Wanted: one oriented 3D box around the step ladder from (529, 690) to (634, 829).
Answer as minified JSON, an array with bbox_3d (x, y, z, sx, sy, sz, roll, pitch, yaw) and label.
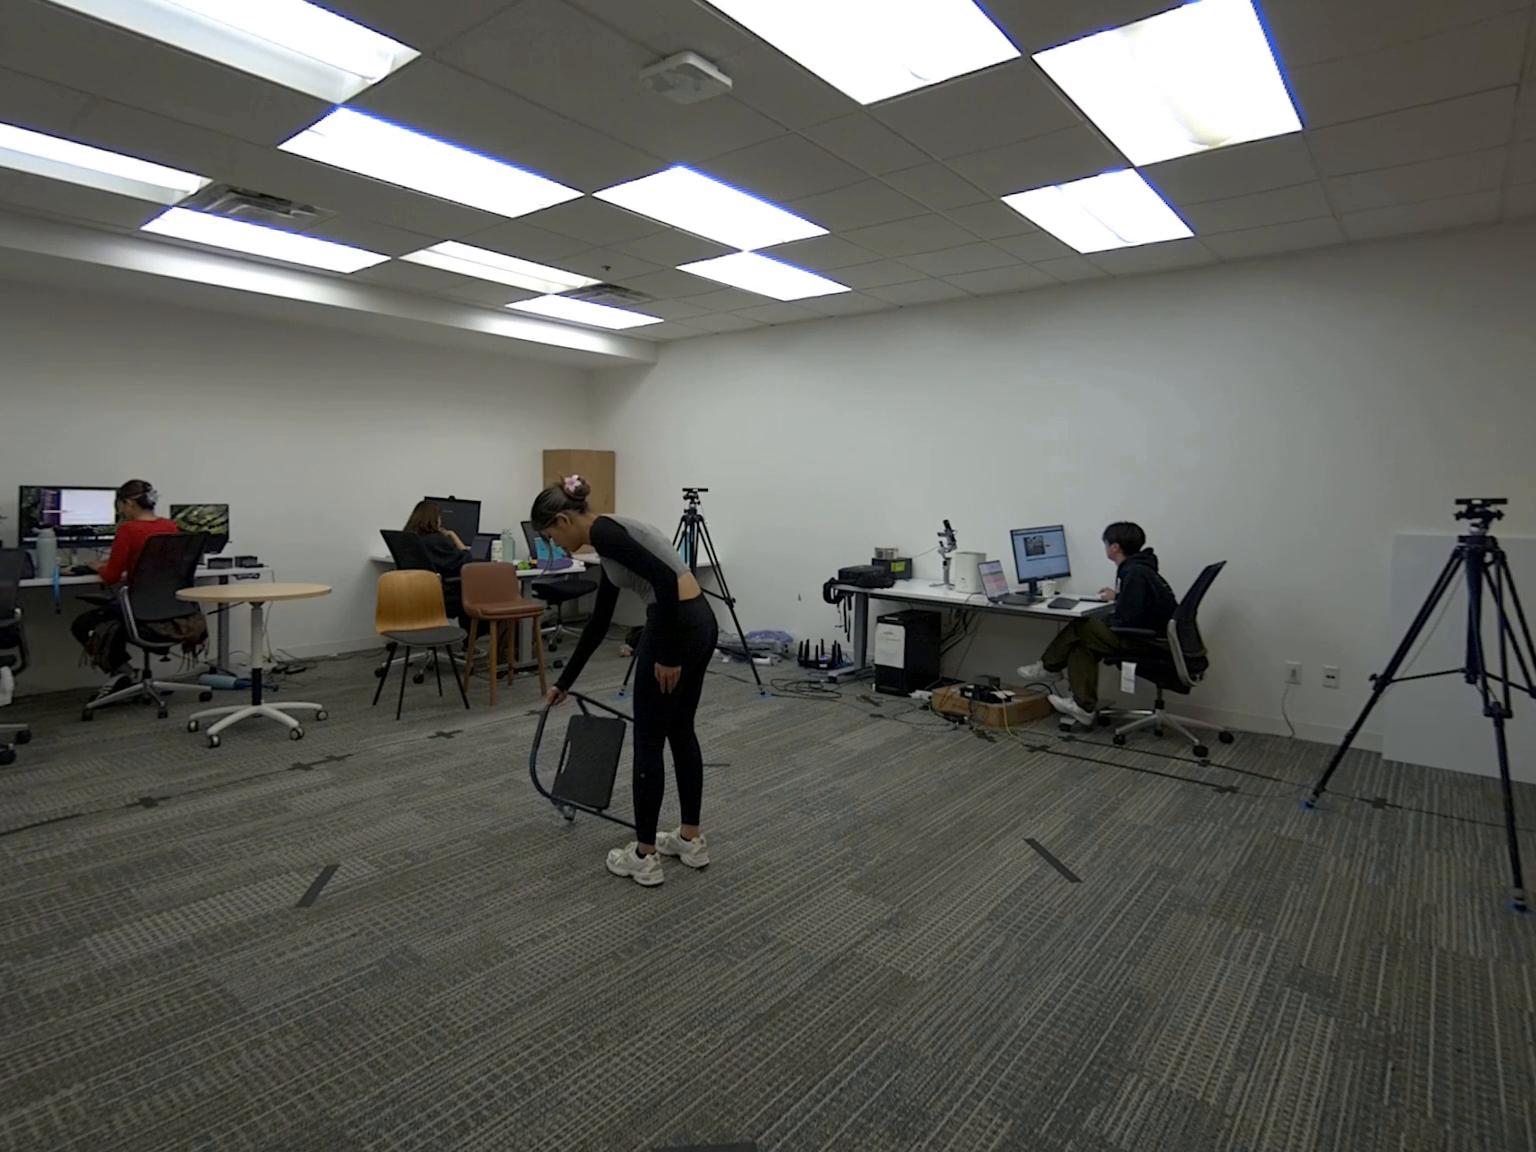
[{"bbox_3d":[-0.713,0.703,3.324,0.355,0.439,0.584,0,-27,15],"label":"step ladder"}]
